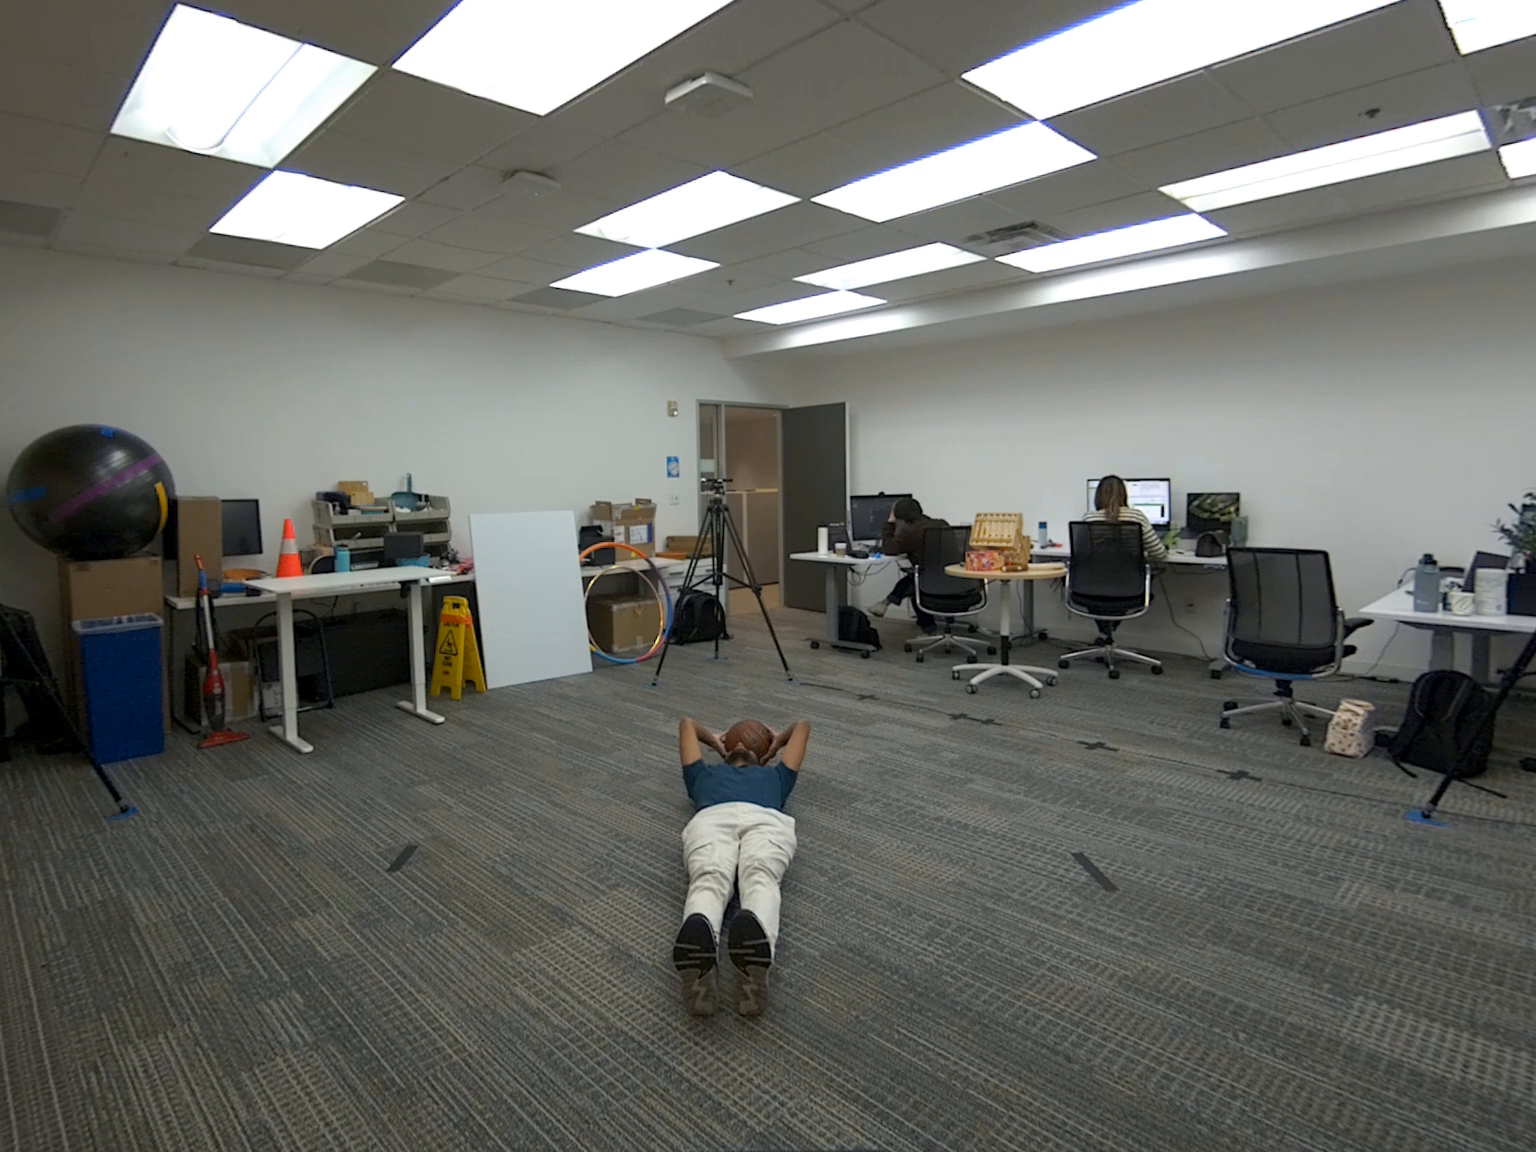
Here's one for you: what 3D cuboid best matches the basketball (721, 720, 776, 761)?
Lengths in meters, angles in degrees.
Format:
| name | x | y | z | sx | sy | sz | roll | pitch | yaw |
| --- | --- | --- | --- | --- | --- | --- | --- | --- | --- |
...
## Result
| name | x | y | z | sx | sy | sz | roll | pitch | yaw |
| --- | --- | --- | --- | --- | --- | --- | --- | --- | --- |
| basketball | -0.091 | 0.813 | 4.122 | 0.236 | 0.235 | 0.237 | -1 | 5 | -2 |
